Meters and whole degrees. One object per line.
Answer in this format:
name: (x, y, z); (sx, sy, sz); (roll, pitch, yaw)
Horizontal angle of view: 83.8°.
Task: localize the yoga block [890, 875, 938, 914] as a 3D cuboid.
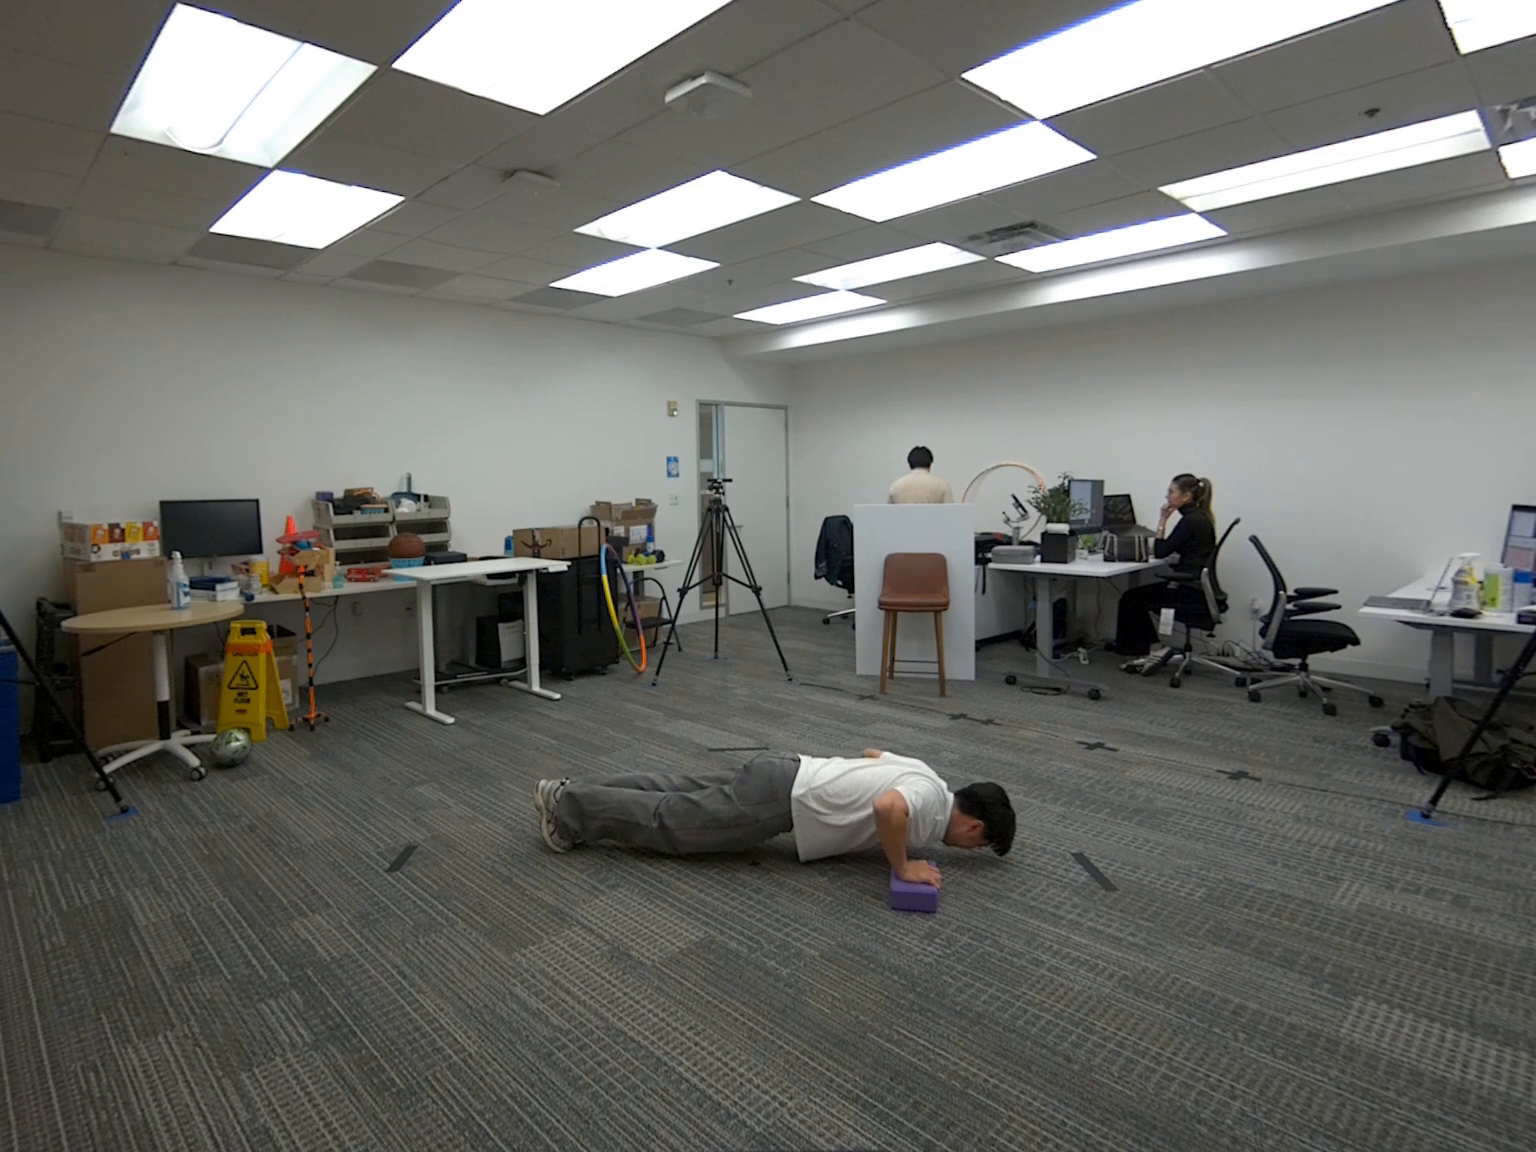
yoga block: (0.492, 1.035, 2.847); (0.151, 0.076, 0.227); (-1, 5, 13)
